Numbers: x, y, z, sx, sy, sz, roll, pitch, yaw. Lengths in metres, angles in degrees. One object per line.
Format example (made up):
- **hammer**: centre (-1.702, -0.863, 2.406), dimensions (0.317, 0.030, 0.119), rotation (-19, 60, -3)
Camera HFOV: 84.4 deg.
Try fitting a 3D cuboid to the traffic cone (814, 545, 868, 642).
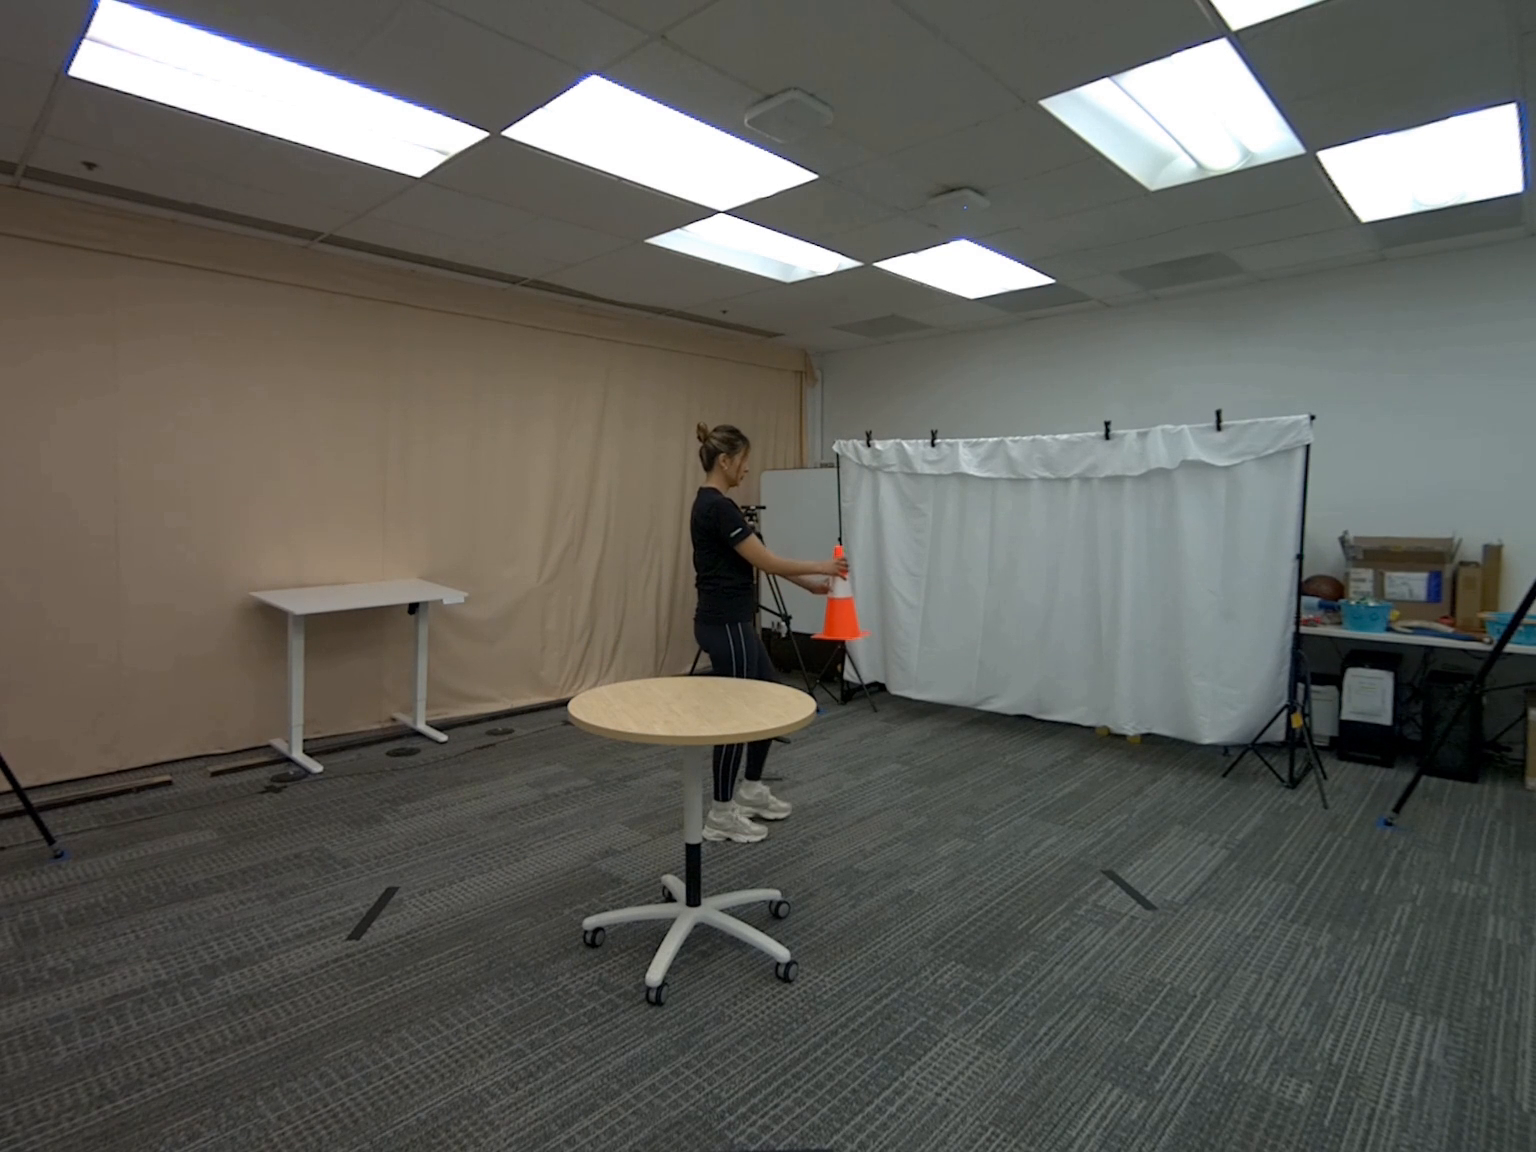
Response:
- **traffic cone**: centre (0.314, 0.067, 3.584), dimensions (0.211, 0.382, 0.198), rotation (3, 8, 38)
